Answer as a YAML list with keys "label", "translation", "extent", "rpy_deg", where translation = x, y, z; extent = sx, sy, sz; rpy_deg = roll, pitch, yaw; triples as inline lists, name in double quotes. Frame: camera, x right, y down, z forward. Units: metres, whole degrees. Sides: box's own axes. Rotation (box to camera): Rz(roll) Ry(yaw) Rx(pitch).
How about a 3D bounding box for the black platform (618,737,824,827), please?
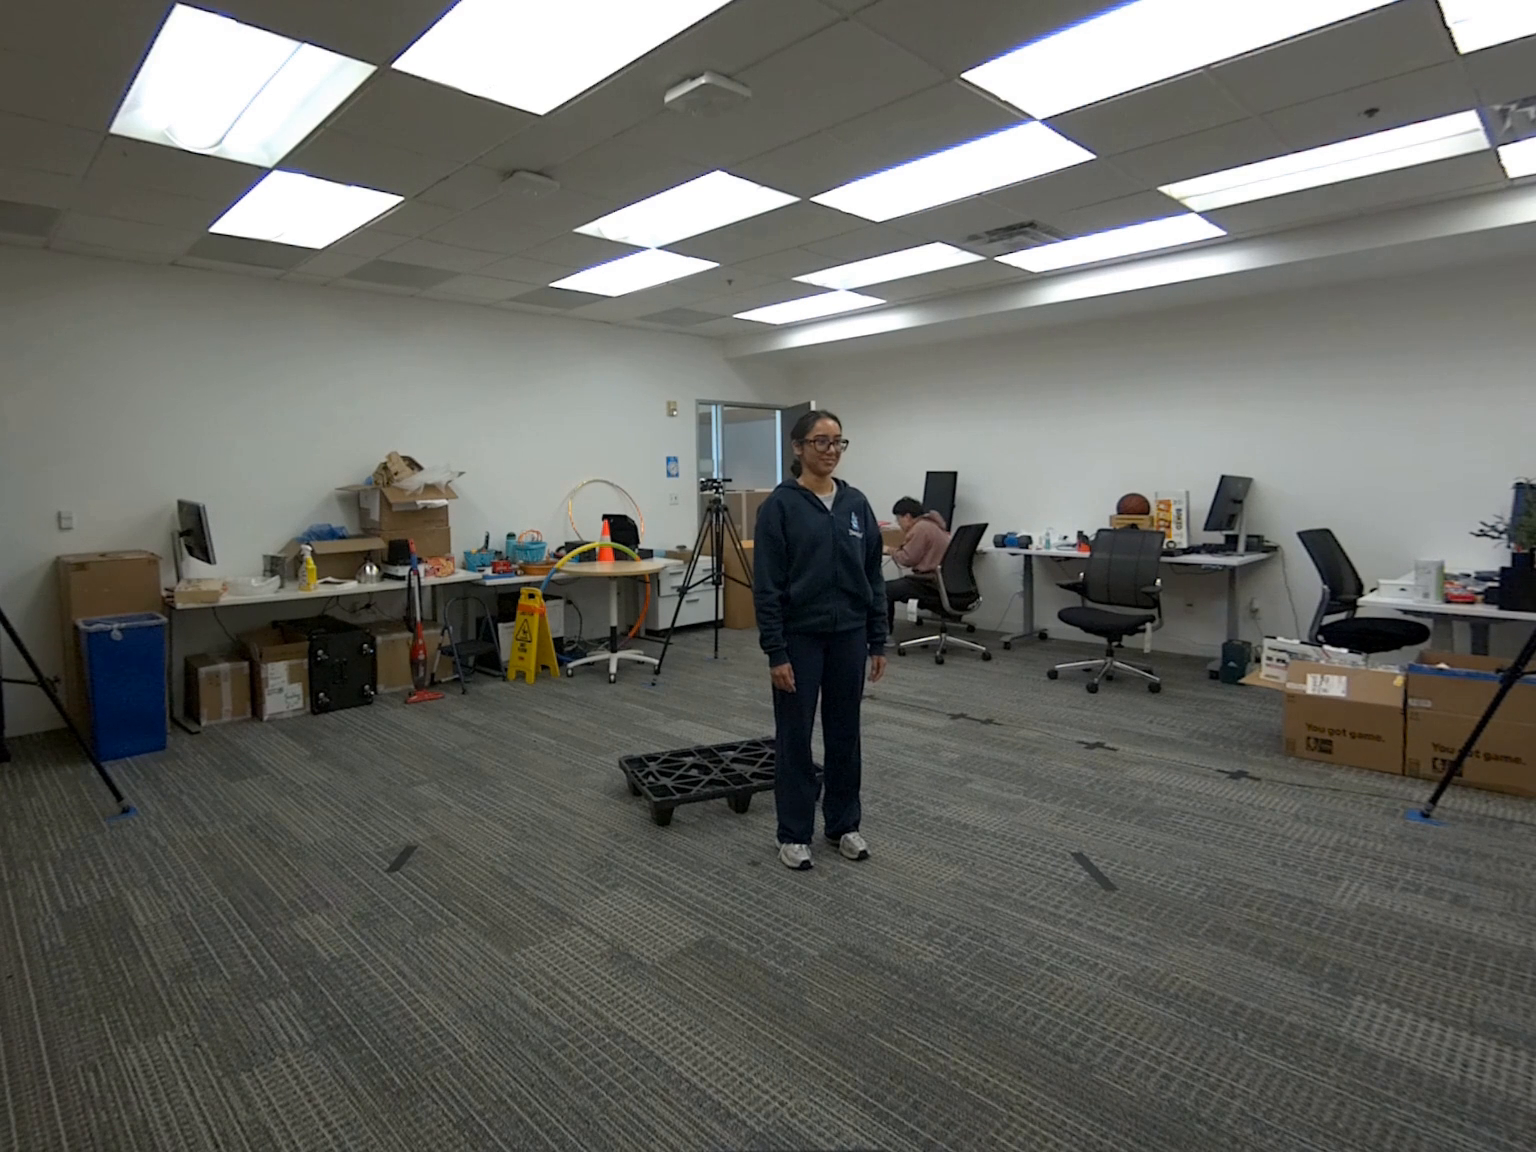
- label: "black platform"
  translation: [-0.198, 0.904, 3.789]
  extent: [0.790, 0.142, 0.619]
  rpy_deg: [-4, 7, -22]
